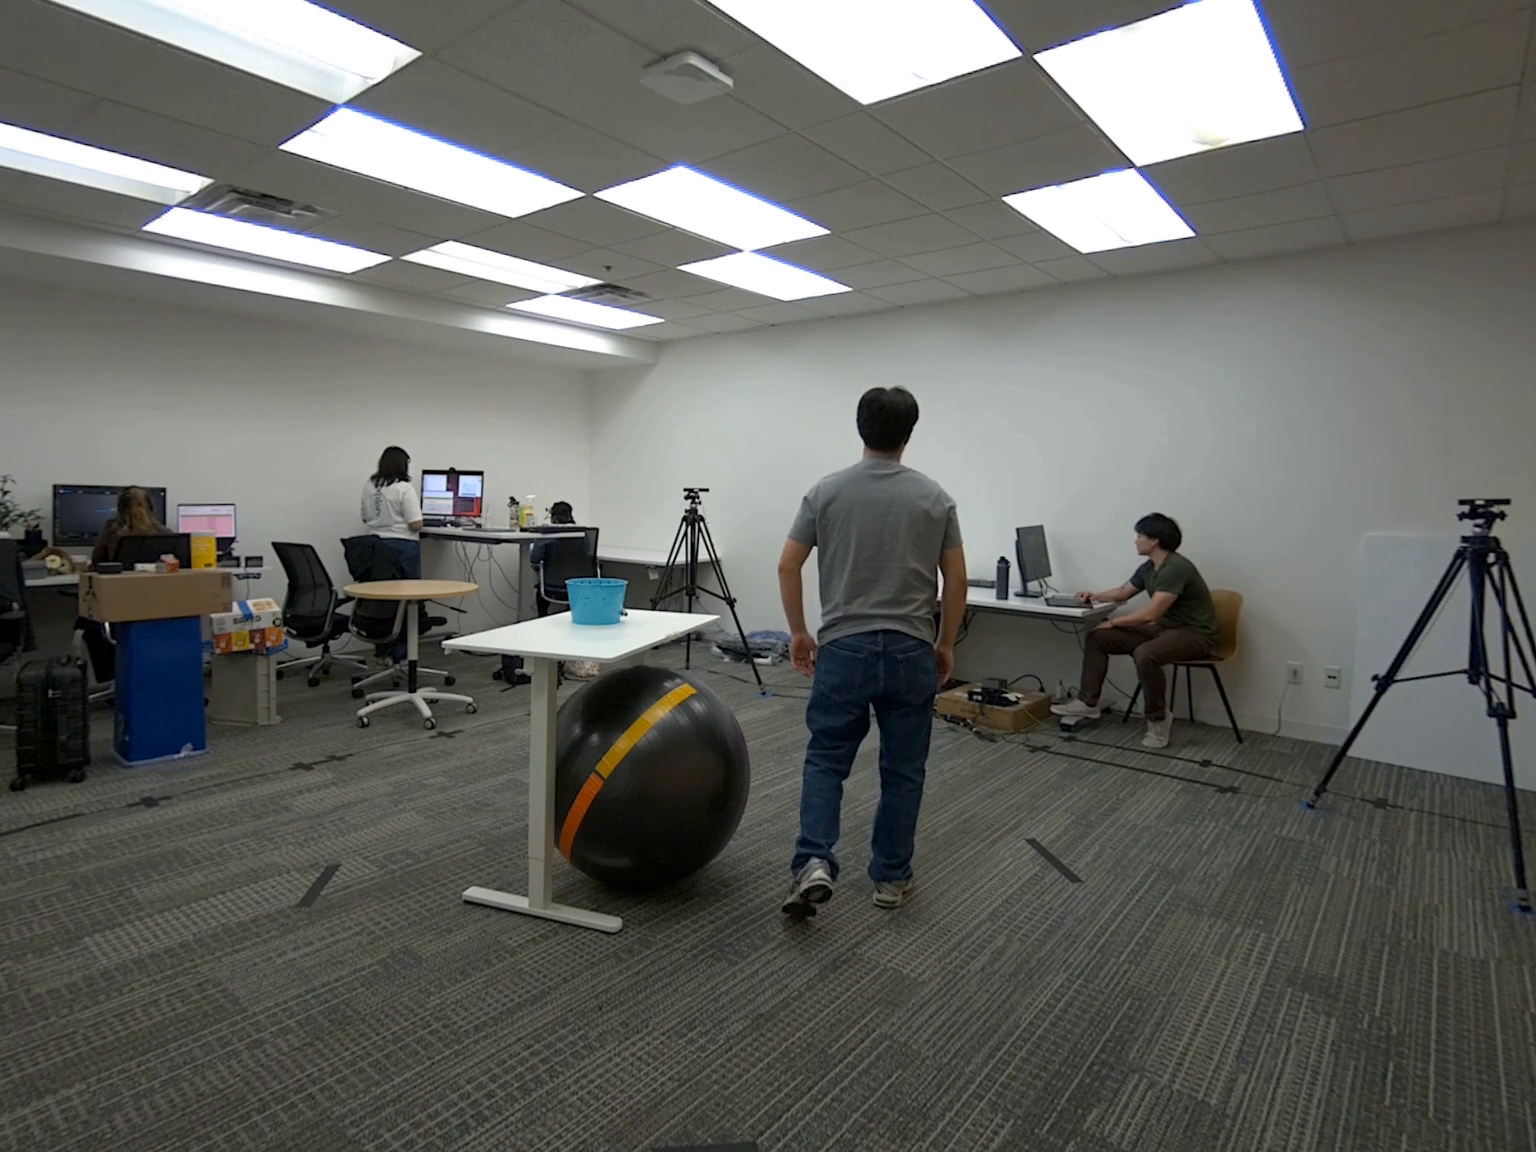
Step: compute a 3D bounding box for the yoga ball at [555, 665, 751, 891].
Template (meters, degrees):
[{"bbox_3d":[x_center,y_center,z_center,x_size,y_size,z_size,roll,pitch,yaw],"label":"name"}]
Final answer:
[{"bbox_3d":[-0.455,0.697,3.018,0.757,0.755,0.762,1,4,-2],"label":"yoga ball"}]
